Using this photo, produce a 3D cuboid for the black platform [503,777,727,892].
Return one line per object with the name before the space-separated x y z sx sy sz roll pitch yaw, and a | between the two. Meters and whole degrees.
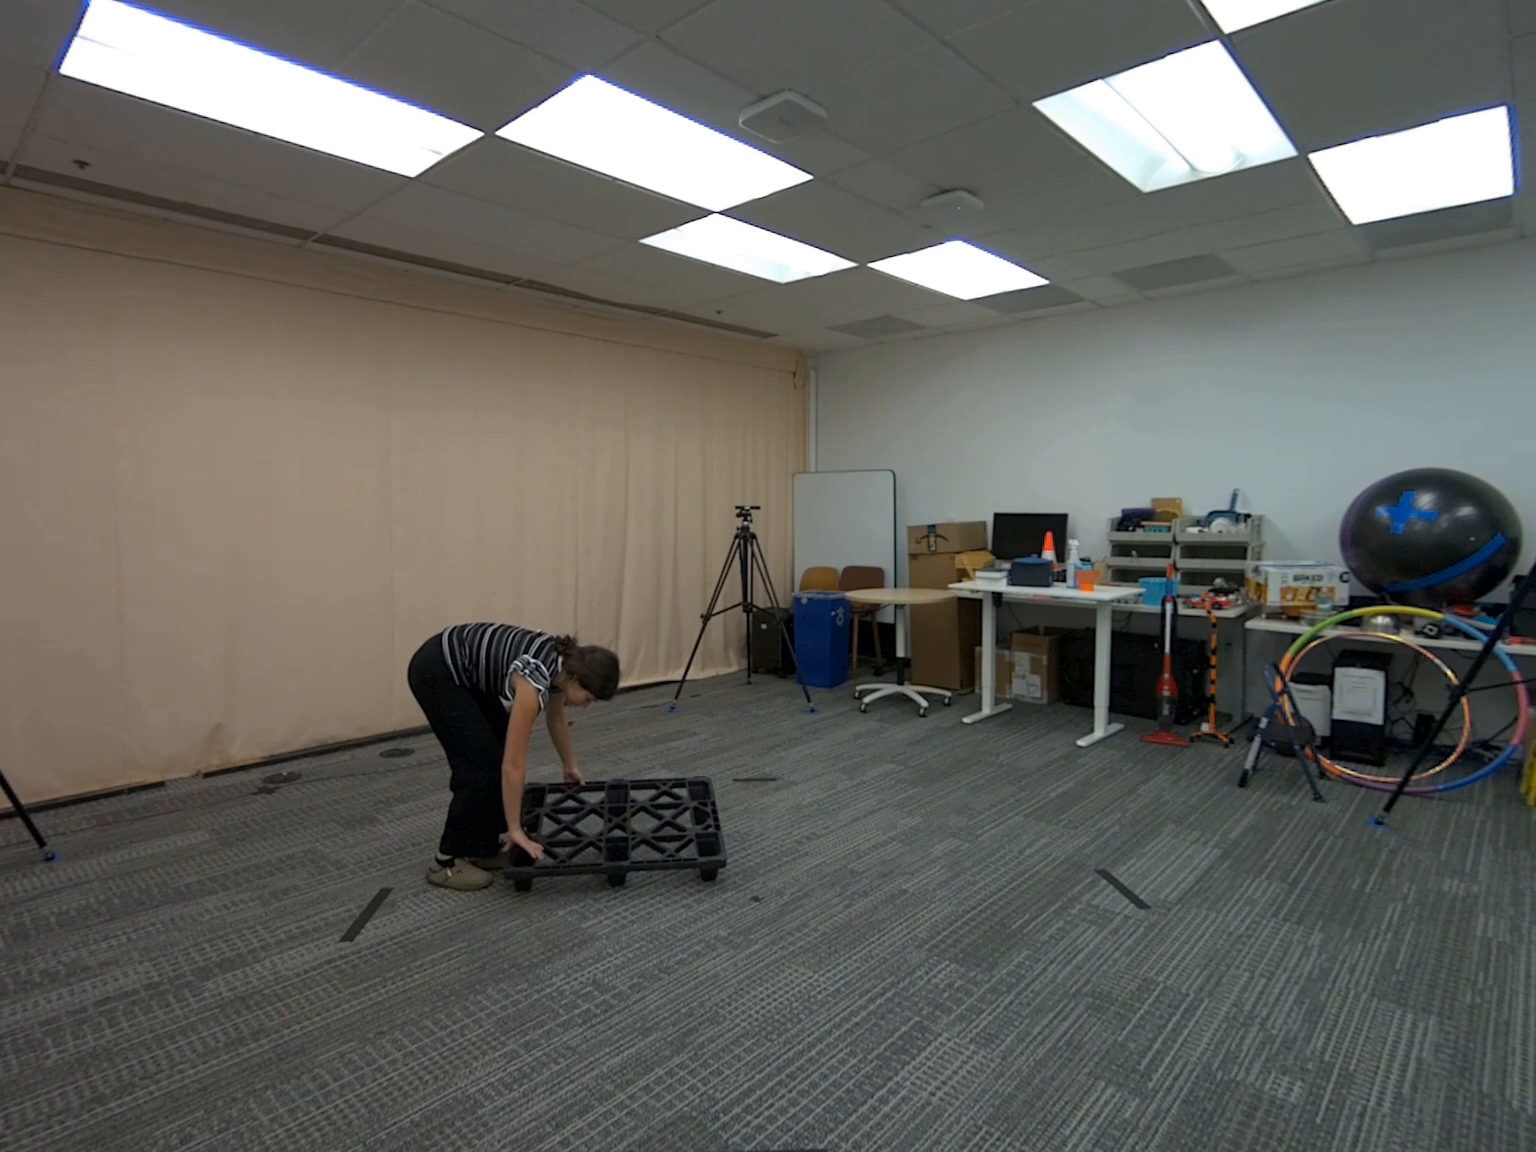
black platform | -0.589 1.010 3.300 0.800 0.142 0.615 -1 15 -7
